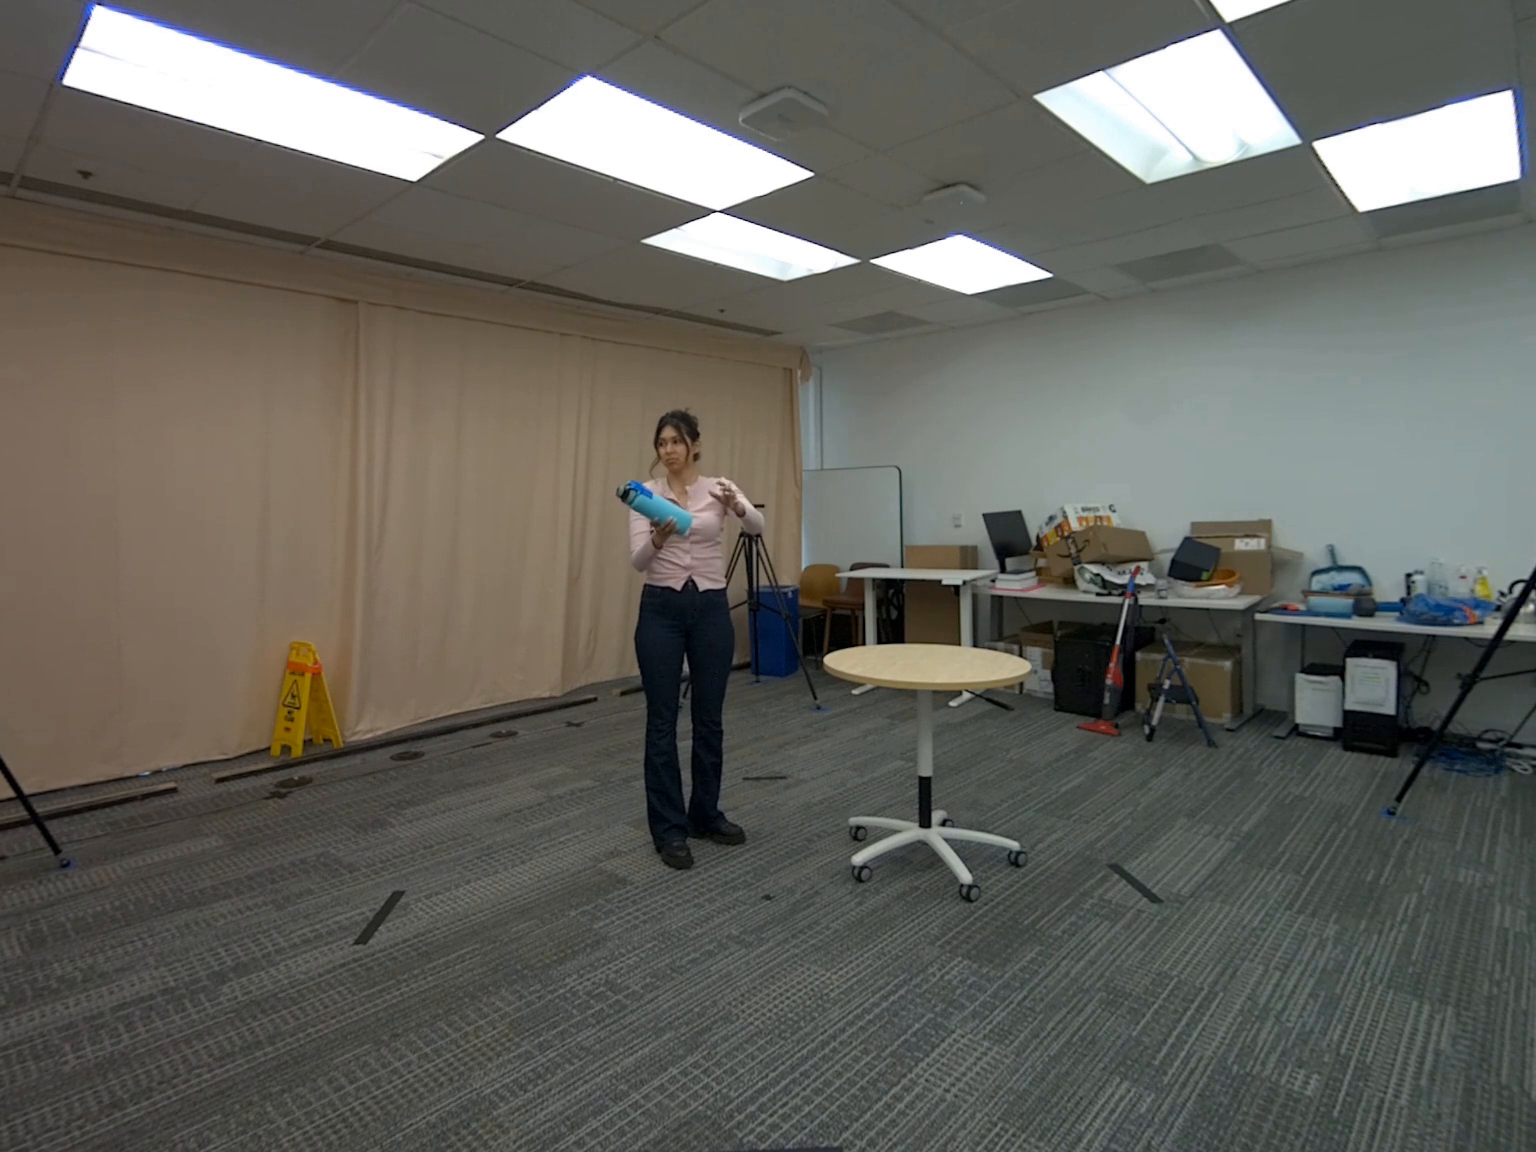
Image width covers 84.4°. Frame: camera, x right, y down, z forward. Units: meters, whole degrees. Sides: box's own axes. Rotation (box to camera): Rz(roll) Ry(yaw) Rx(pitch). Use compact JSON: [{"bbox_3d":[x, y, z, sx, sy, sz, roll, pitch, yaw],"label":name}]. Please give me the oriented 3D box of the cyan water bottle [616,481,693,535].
[{"bbox_3d":[-0.400,-0.242,2.974,0.275,0.092,0.095,31,-12,-27],"label":"cyan water bottle"}]
